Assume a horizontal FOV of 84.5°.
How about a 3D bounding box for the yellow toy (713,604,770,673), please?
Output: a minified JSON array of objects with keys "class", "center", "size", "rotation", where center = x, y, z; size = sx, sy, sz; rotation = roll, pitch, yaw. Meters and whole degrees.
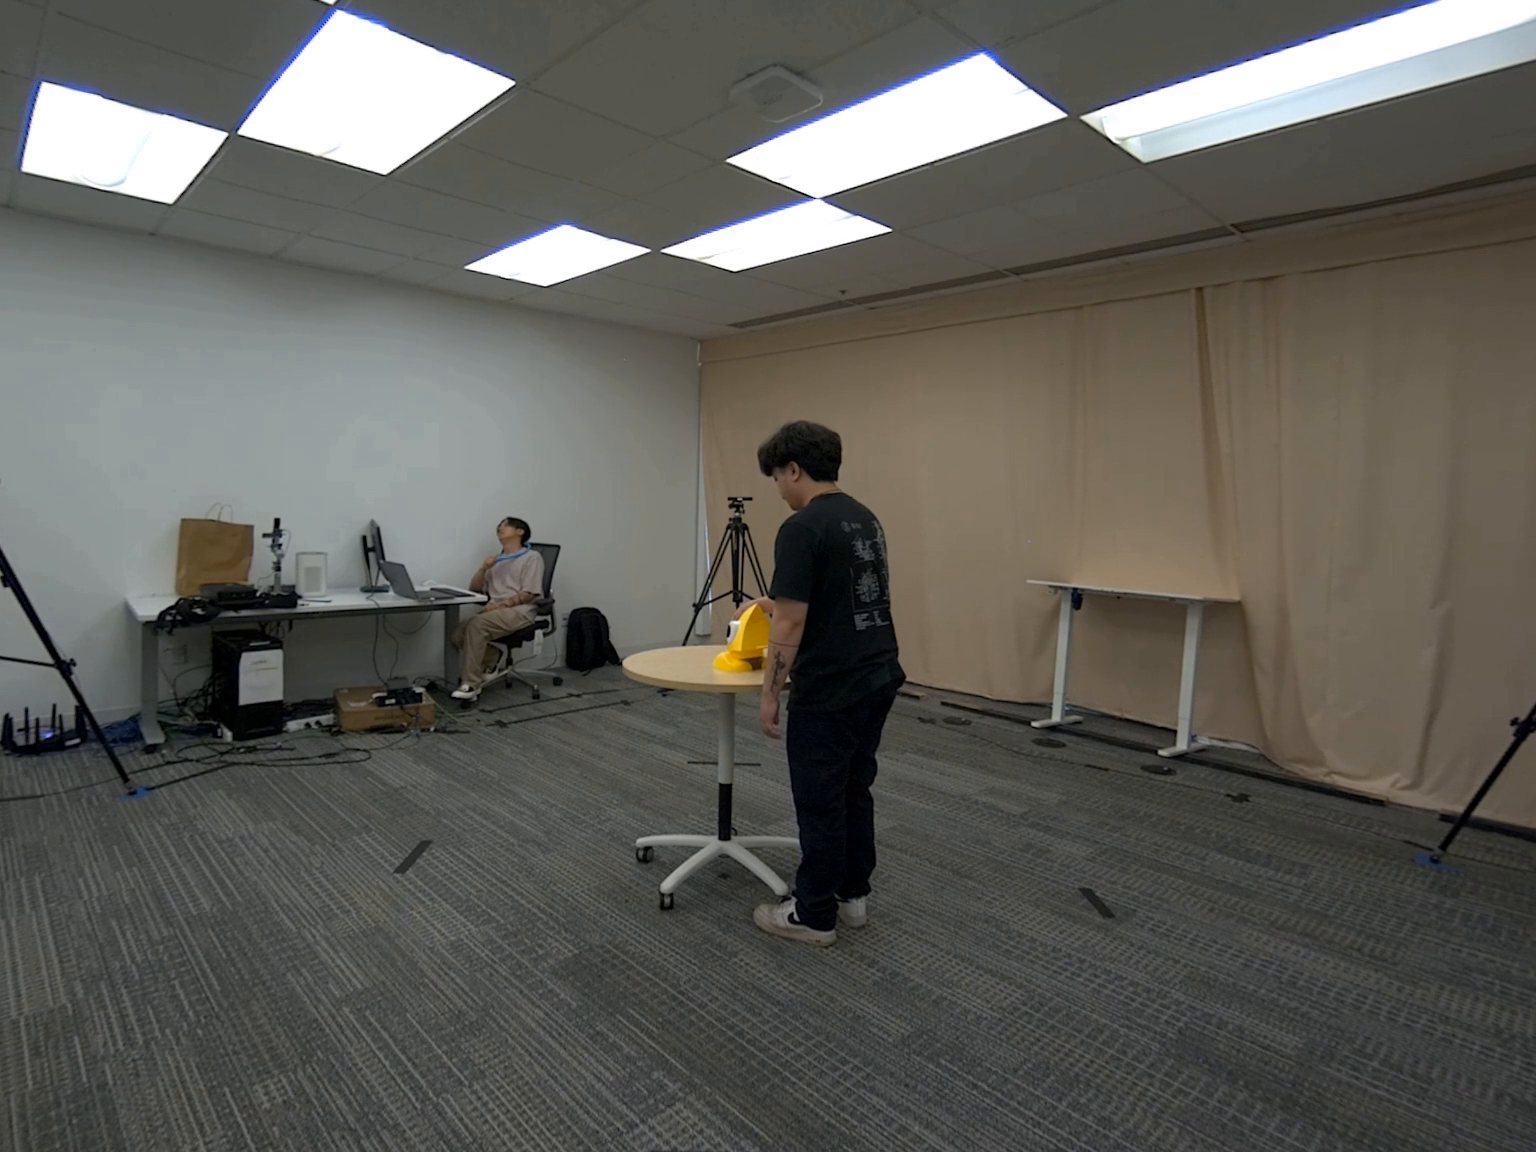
[{"class":"yellow toy","center":[-0.092,0.211,2.989],"size":[0.200,0.230,0.198],"rotation":[-2,5,-45]}]
